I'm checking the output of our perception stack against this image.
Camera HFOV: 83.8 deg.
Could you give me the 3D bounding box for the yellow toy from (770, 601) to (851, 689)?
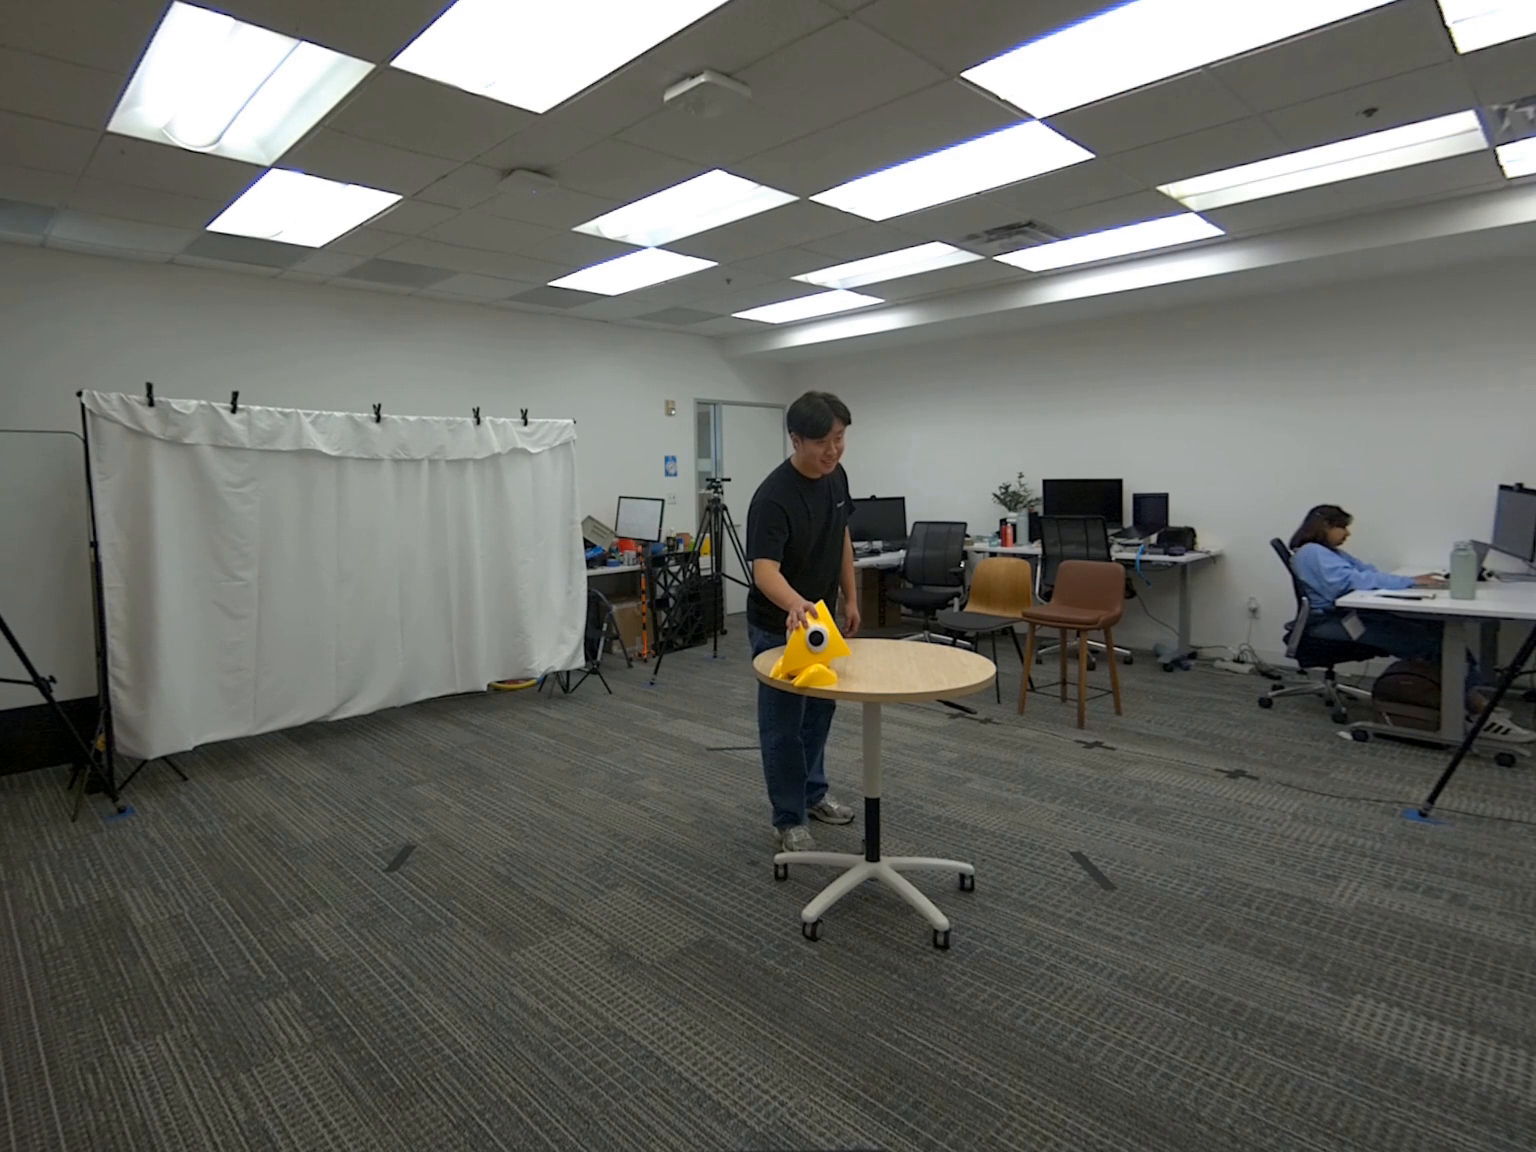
[{"bbox_3d":[0.115,0.196,2.558,0.188,0.229,0.211,-4,7,-33],"label":"yellow toy"}]
